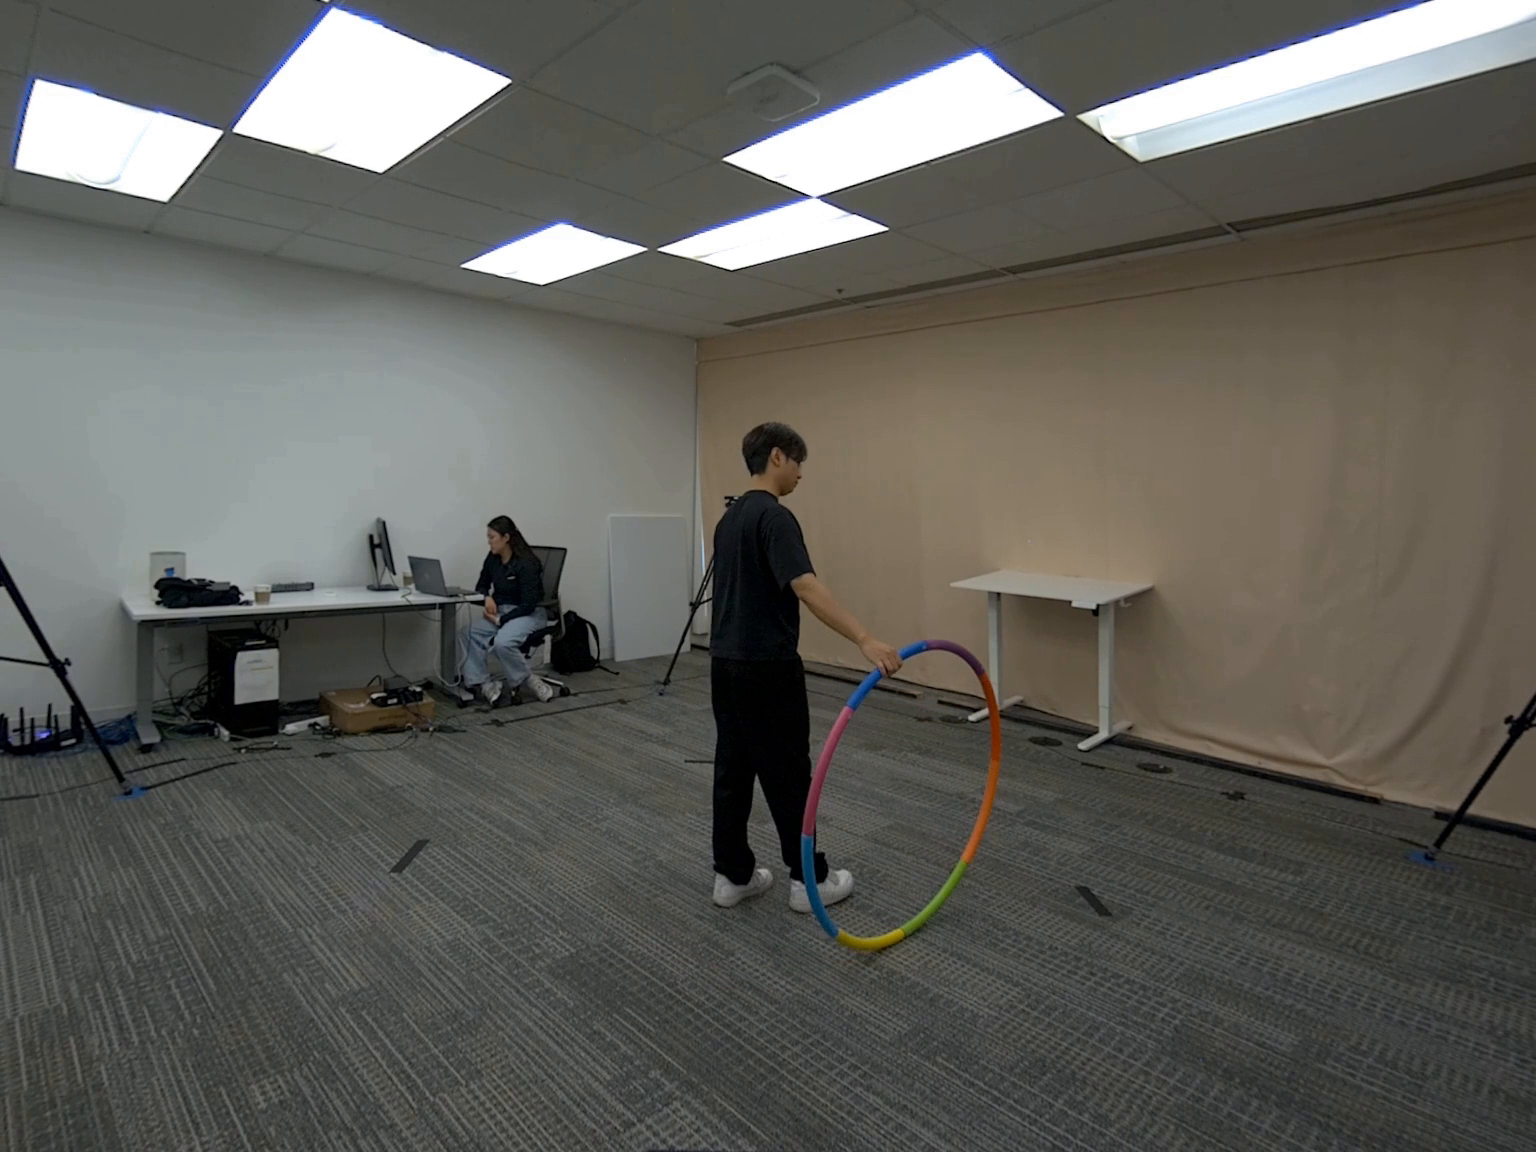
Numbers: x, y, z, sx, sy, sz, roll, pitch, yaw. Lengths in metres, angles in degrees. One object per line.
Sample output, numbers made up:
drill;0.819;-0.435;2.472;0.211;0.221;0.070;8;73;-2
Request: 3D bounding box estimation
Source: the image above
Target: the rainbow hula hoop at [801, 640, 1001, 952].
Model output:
rainbow hula hoop;0.445;0.675;2.638;0.956;0.974;0.036;-3;8;-44
